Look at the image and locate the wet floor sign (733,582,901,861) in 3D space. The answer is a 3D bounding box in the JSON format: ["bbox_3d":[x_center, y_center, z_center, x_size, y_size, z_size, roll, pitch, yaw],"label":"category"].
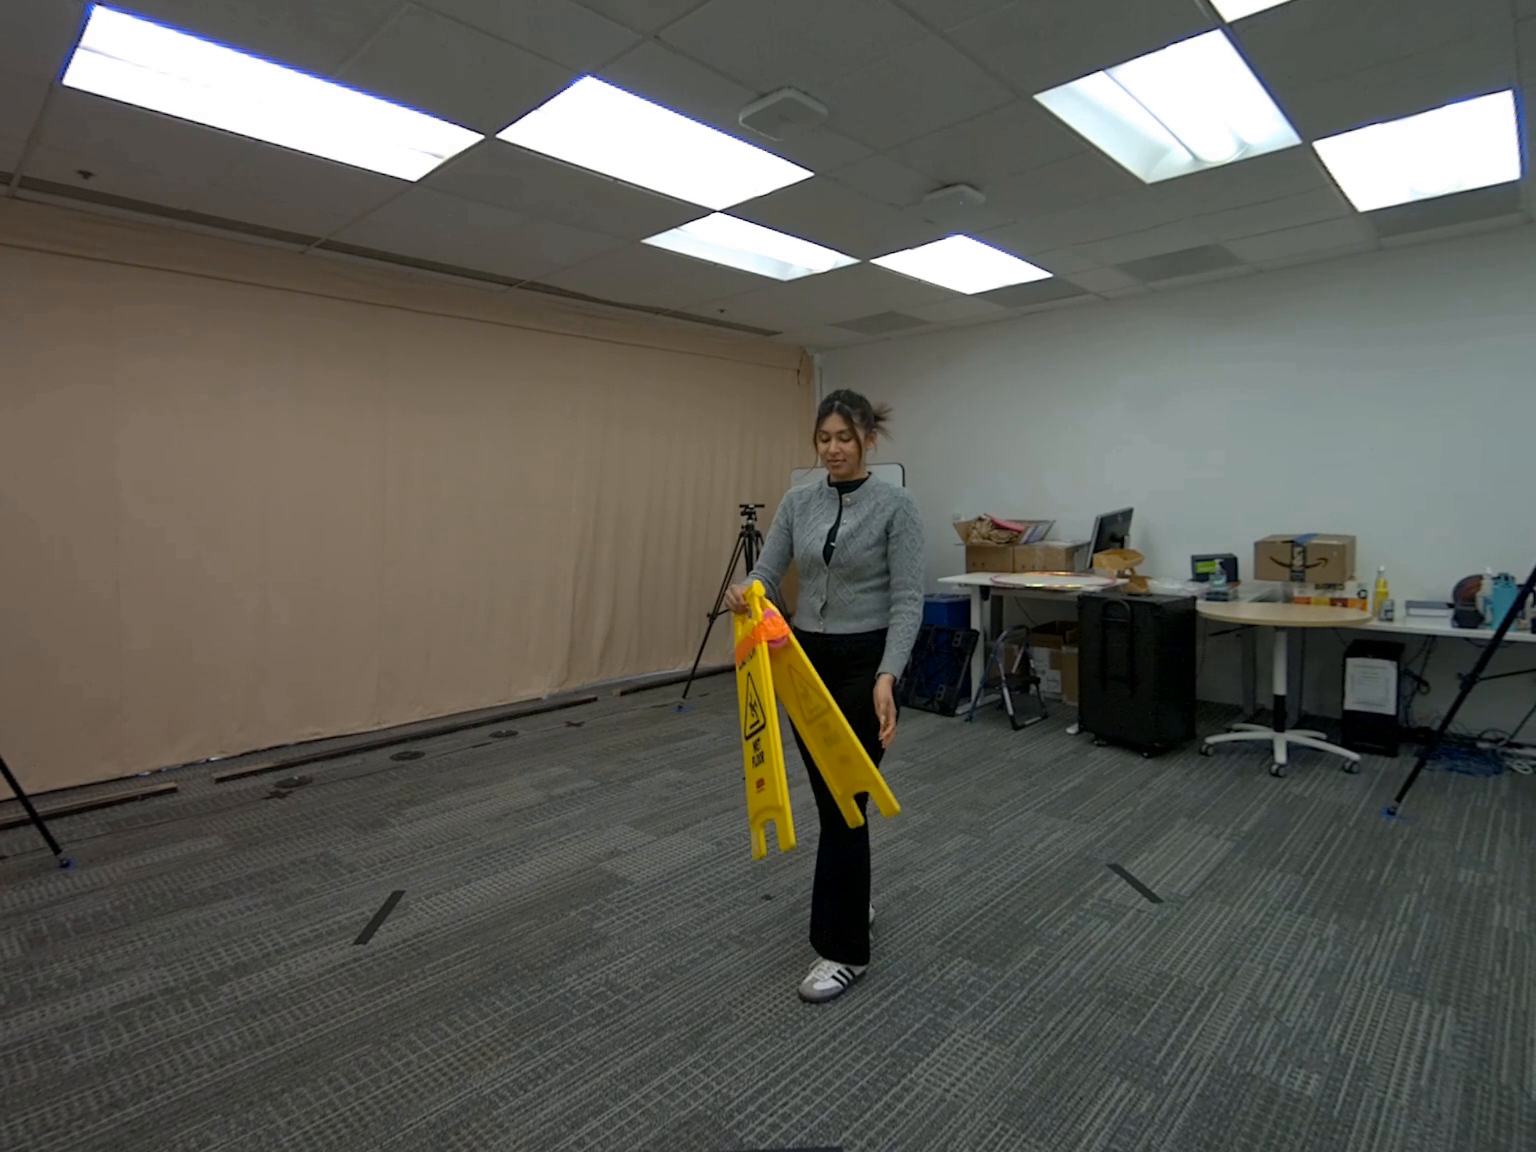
[{"bbox_3d":[0.039,0.335,2.131,0.284,0.657,0.283,-11,-21,-23],"label":"wet floor sign"}]
